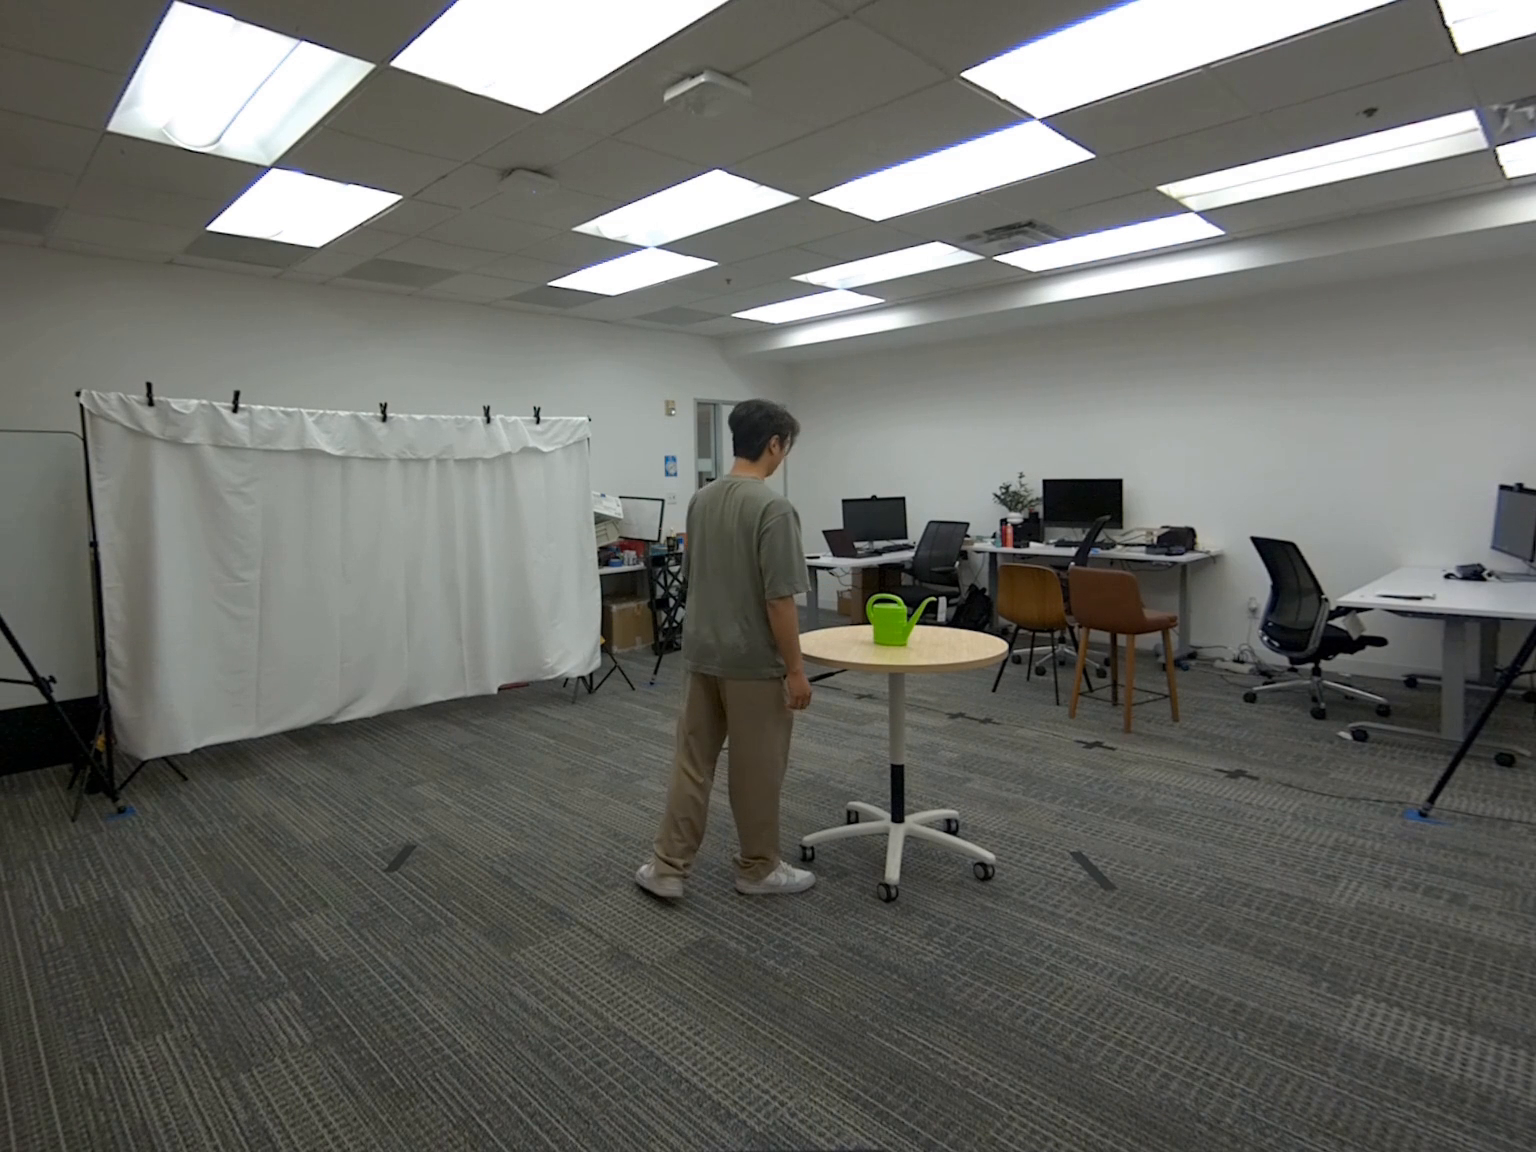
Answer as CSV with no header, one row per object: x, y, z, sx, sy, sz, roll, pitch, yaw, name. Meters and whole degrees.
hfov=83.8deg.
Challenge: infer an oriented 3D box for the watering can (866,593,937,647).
0.465,0.160,3.019,0.095,0.176,0.286,-6,7,-35,watering can
